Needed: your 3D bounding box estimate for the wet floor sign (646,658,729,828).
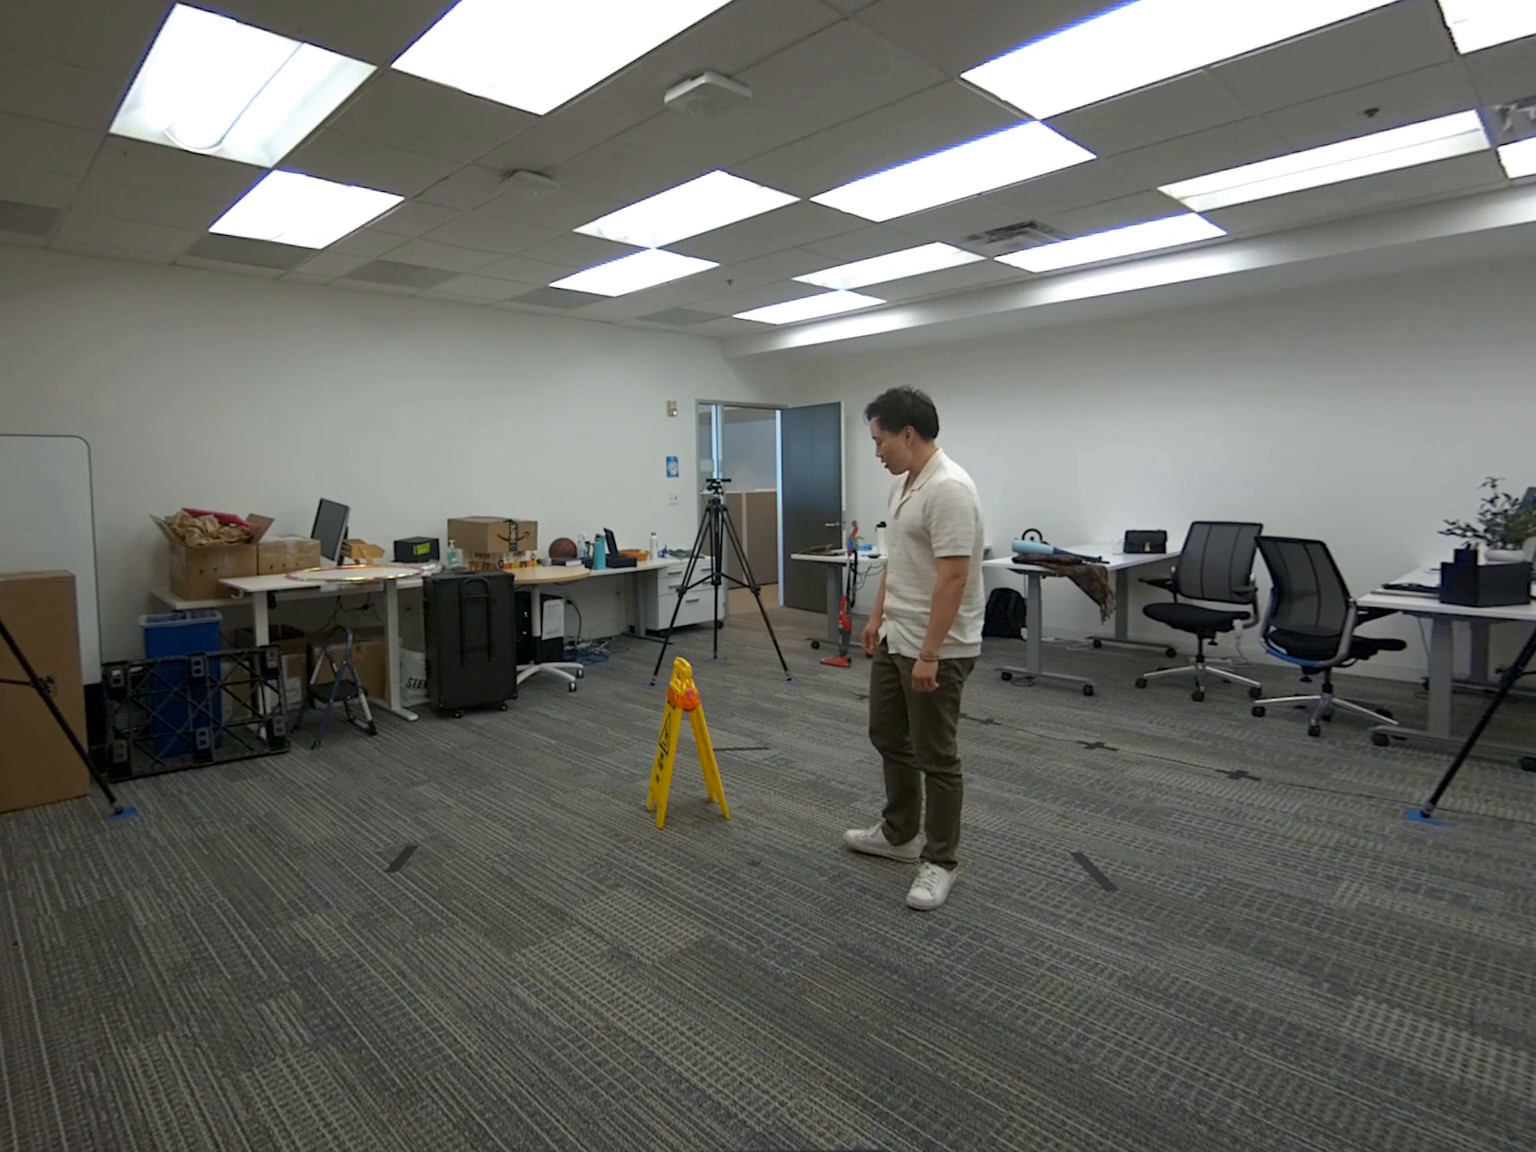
[{"bbox_3d":[-0.351,0.673,3.572,0.285,0.644,0.287,-3,3,-18],"label":"wet floor sign"}]
